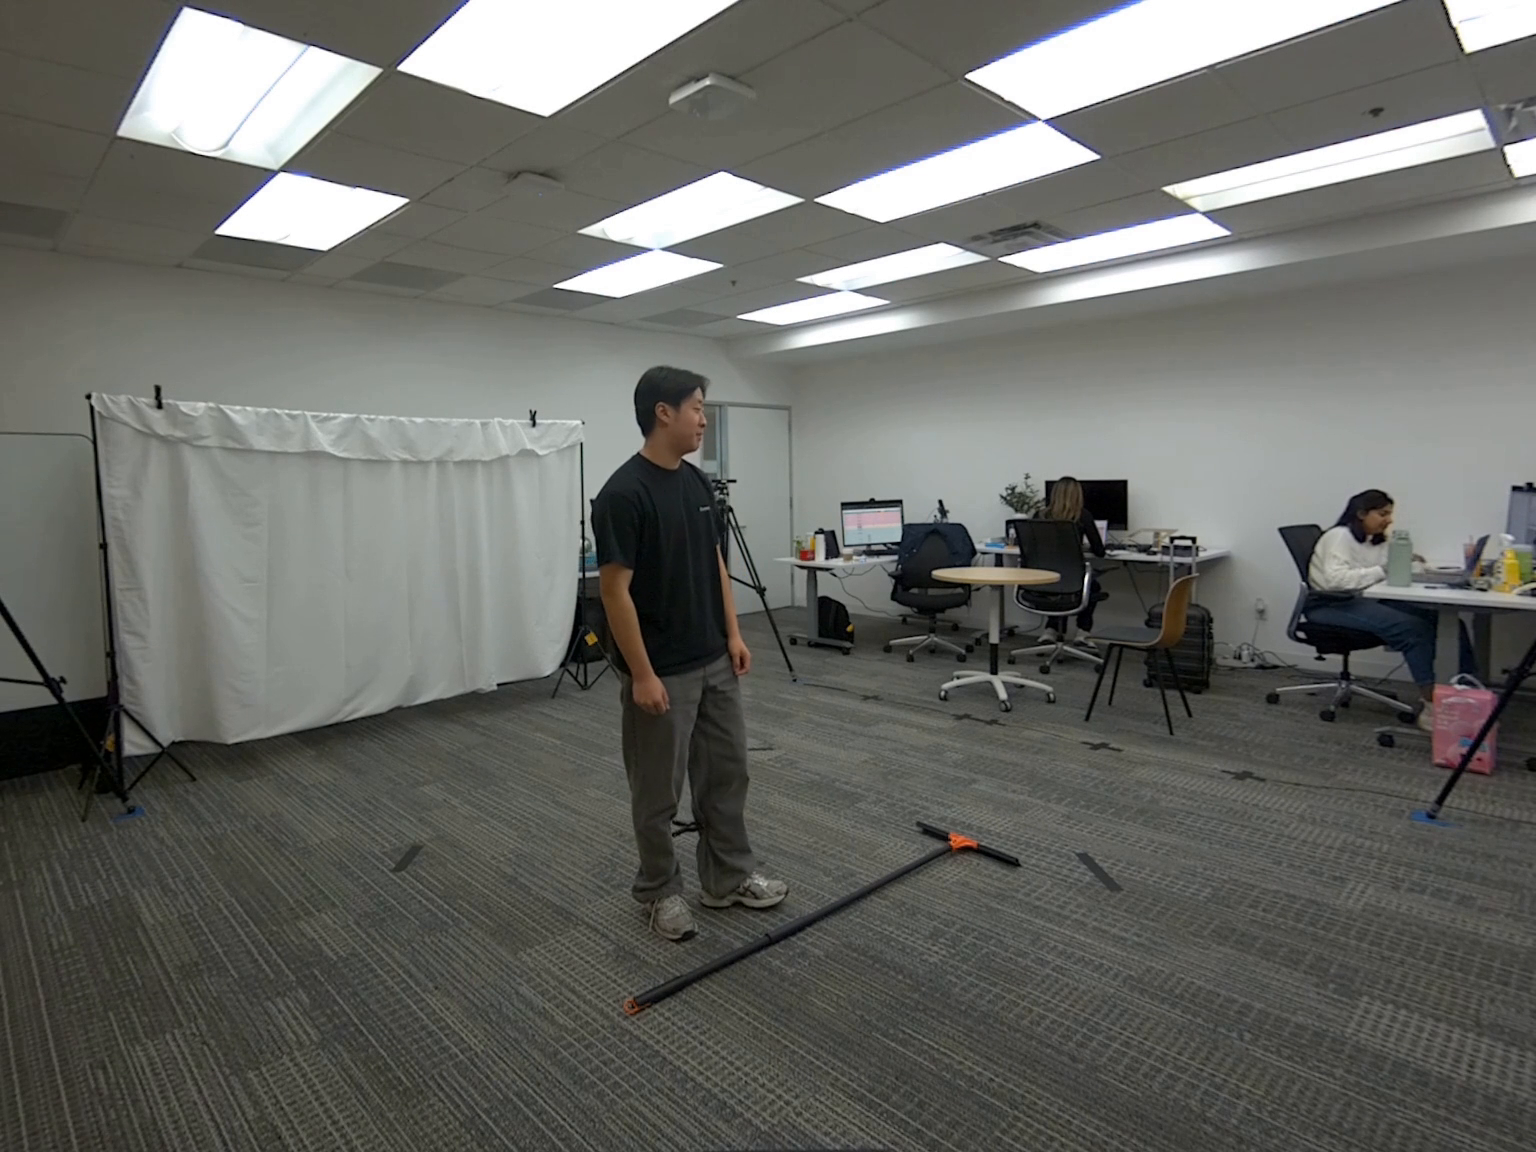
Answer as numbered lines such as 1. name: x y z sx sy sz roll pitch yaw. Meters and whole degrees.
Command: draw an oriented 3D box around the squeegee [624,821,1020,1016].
1. squeegee: 0.195 1.048 2.737 1.499 0.053 0.451 -8 8 -40
